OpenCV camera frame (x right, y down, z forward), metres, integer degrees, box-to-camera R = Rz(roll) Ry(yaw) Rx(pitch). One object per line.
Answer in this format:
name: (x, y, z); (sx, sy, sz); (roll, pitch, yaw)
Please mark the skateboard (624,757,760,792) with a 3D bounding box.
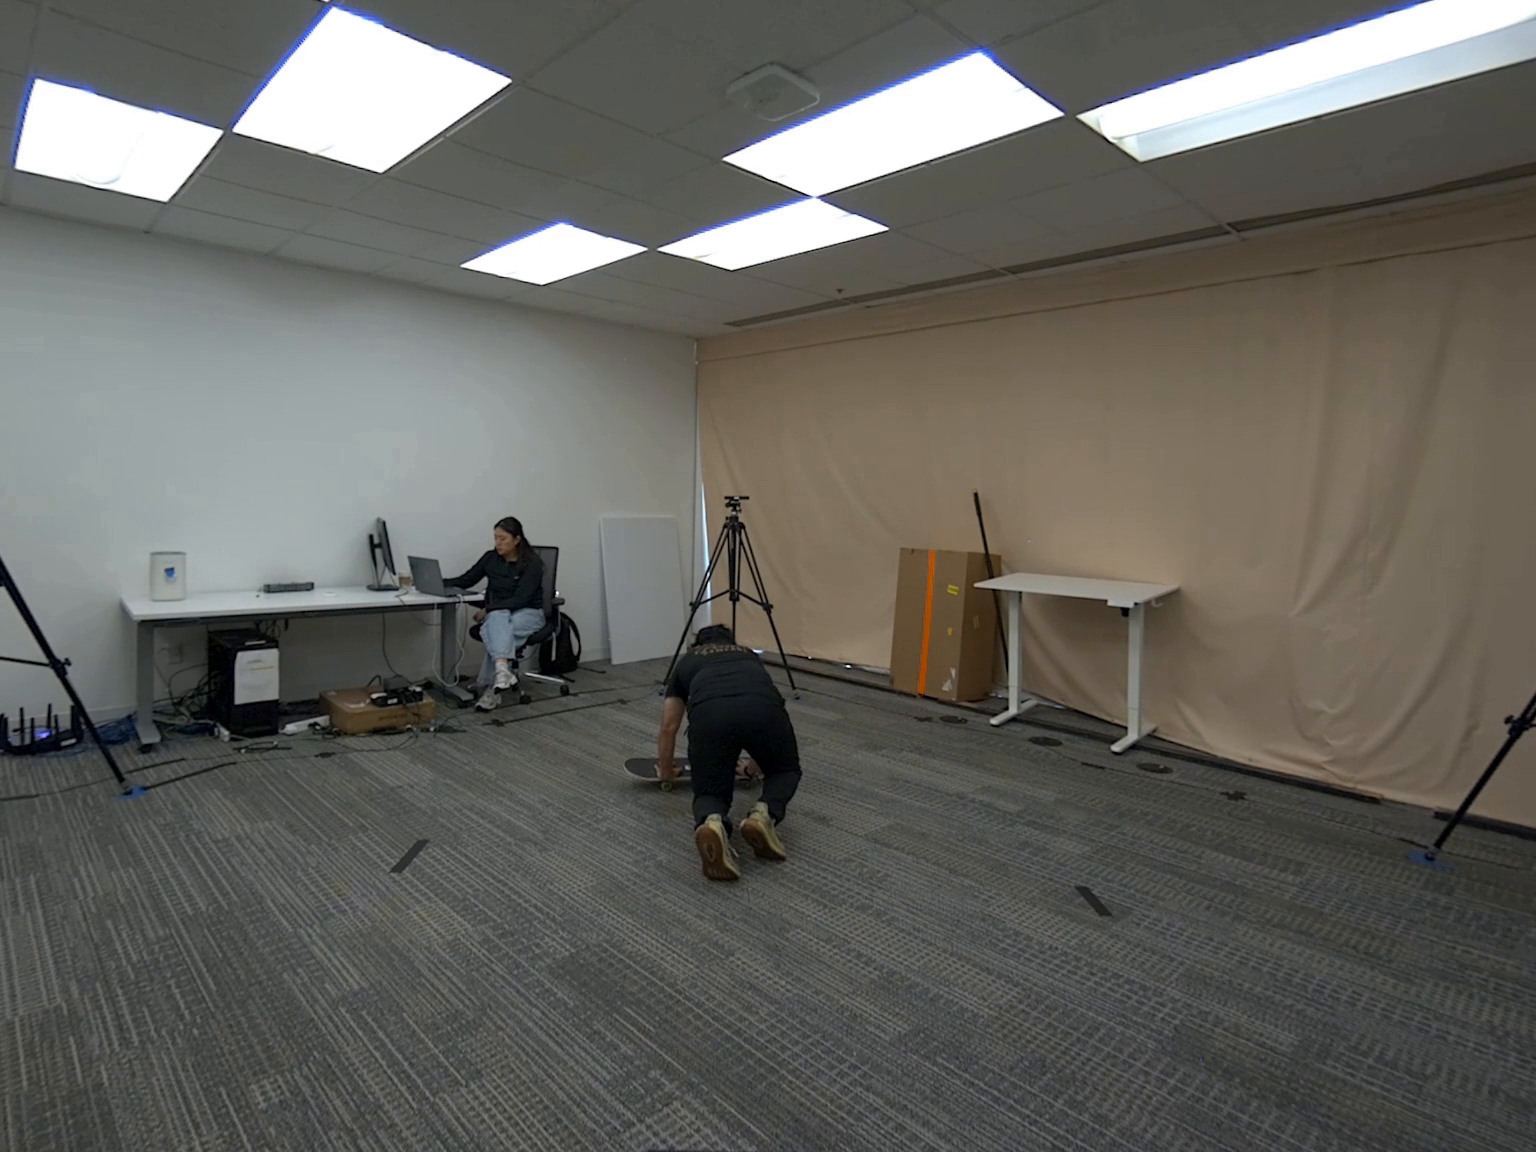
skateboard: (-0.315, 0.961, 4.094); (0.780, 0.109, 0.196); (1, 14, -8)
